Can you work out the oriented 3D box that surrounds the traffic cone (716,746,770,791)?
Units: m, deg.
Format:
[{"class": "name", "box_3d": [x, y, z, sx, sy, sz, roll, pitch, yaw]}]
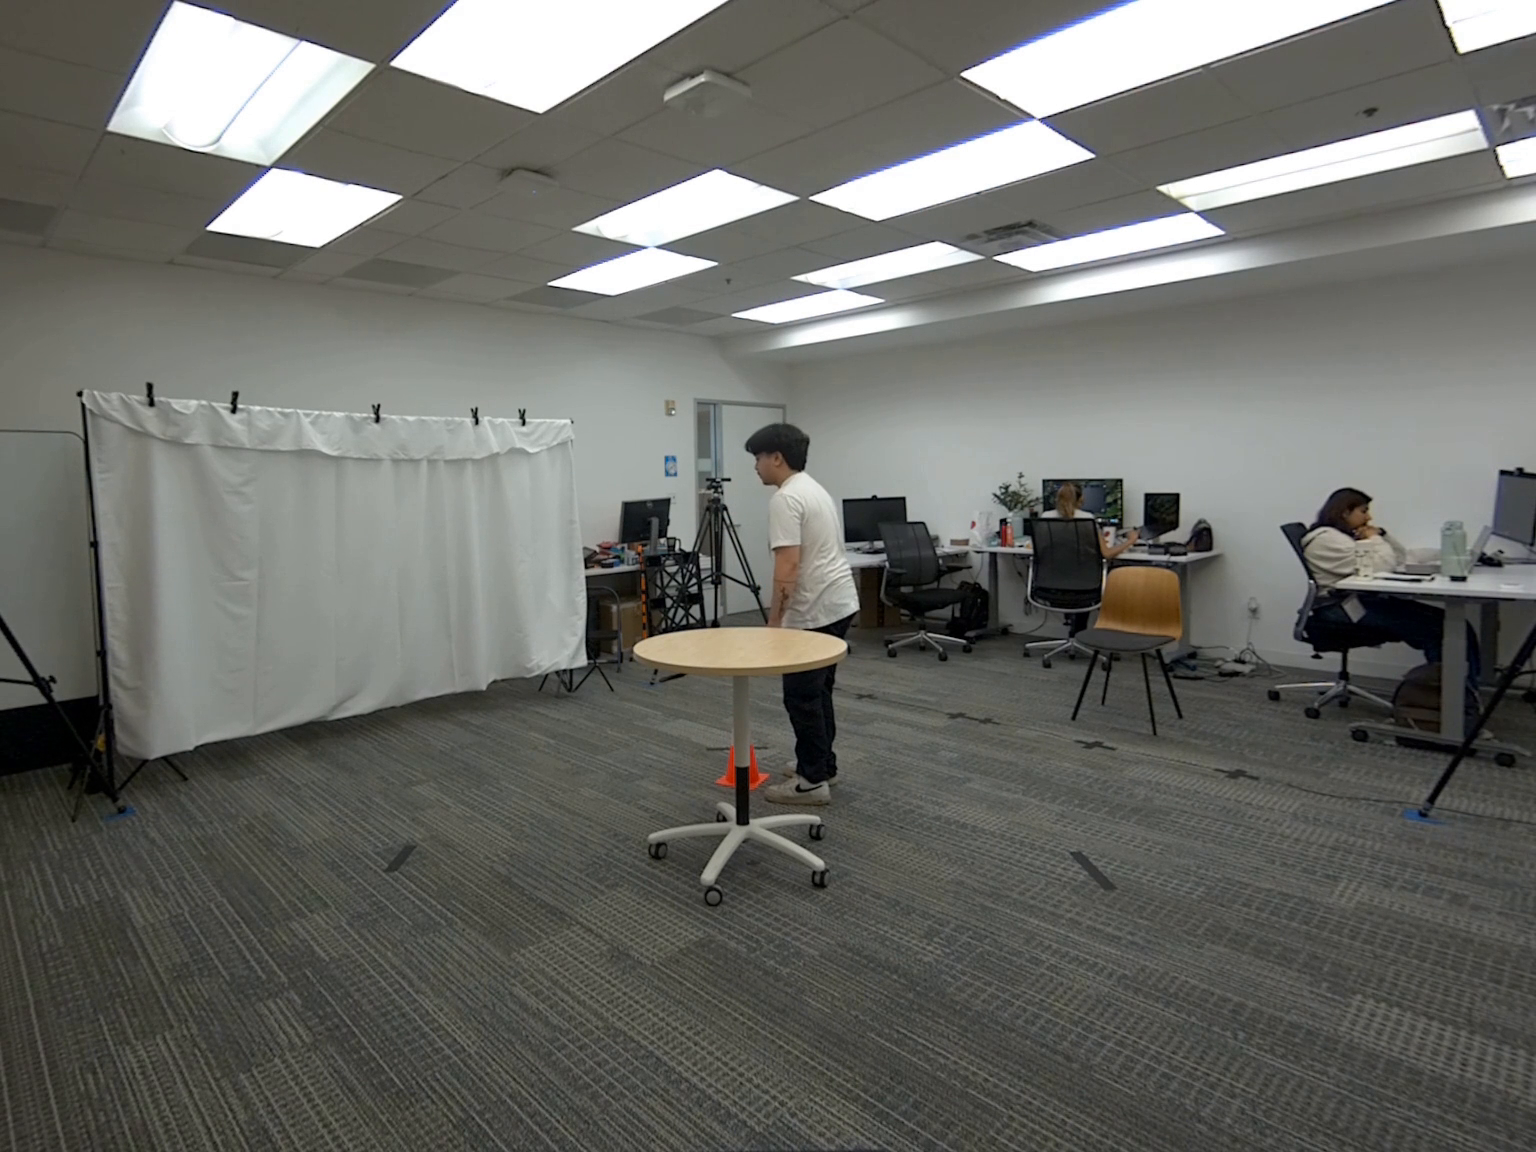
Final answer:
[{"class": "traffic cone", "box_3d": [-0.122, 0.764, 3.972, 0.210, 0.382, 0.199, 0, 4, 33]}]
